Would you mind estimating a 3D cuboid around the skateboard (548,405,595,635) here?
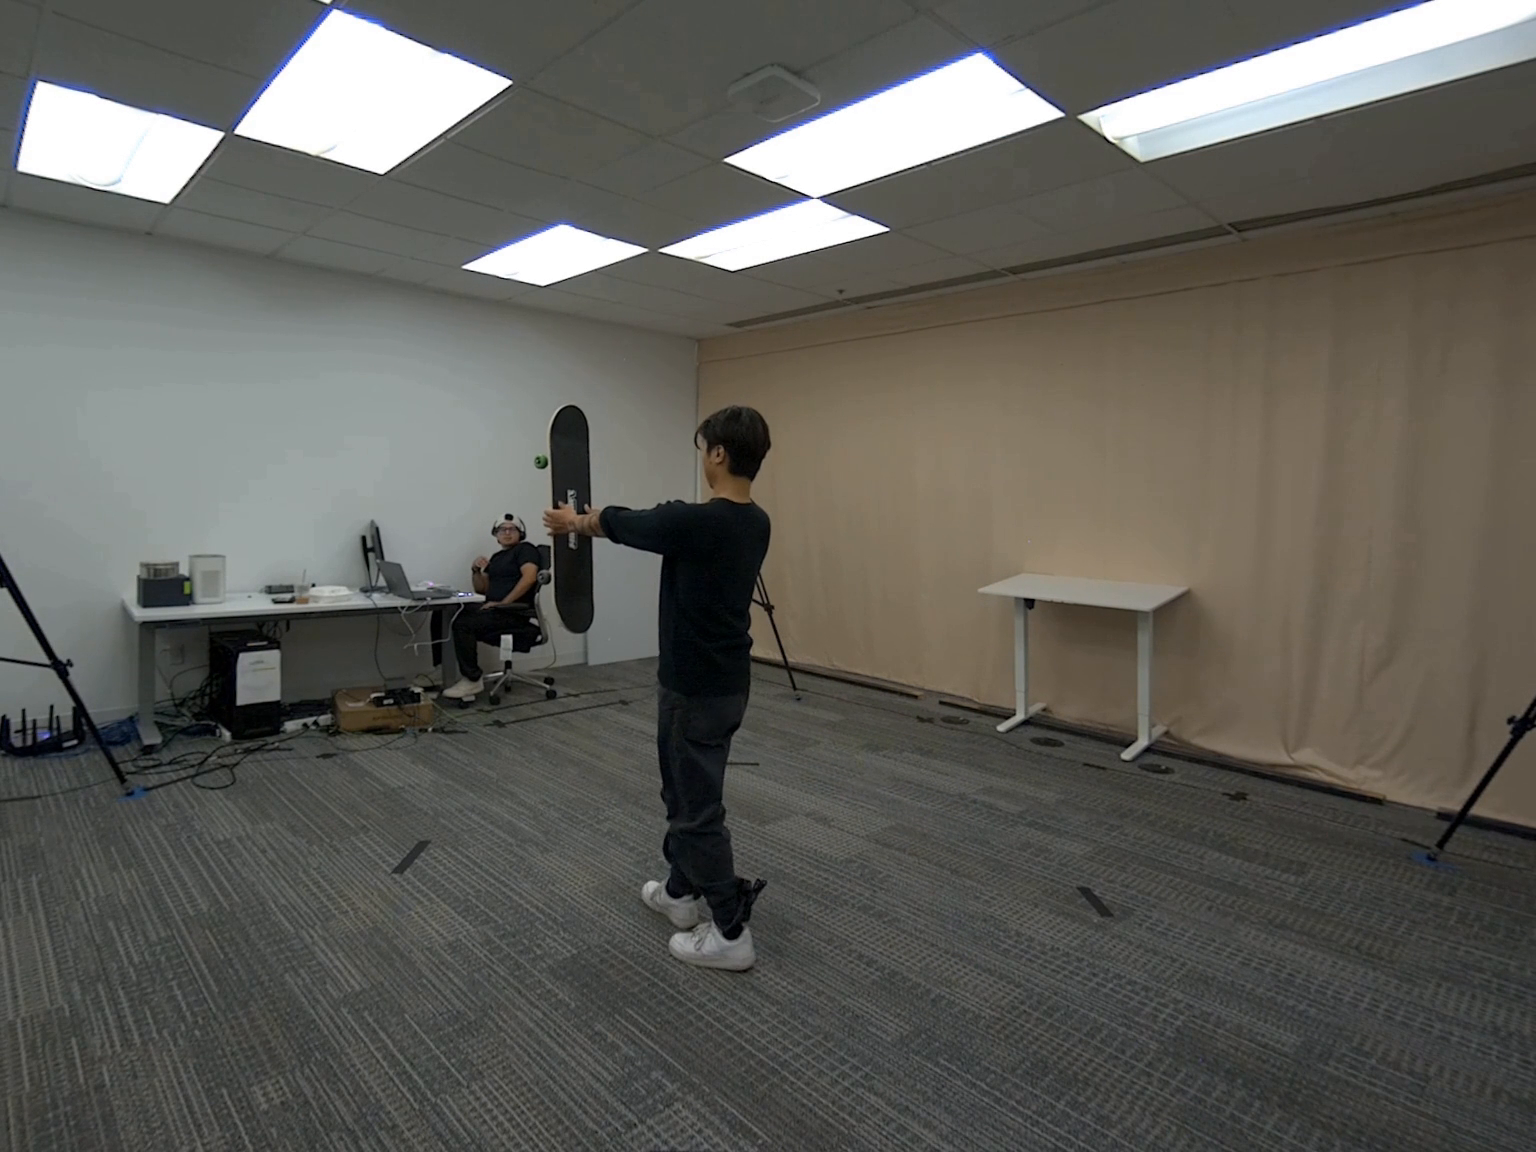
[{"bbox_3d":[-0.706,-0.194,2.919,0.112,0.787,0.189,-4,-3,33],"label":"skateboard"}]
